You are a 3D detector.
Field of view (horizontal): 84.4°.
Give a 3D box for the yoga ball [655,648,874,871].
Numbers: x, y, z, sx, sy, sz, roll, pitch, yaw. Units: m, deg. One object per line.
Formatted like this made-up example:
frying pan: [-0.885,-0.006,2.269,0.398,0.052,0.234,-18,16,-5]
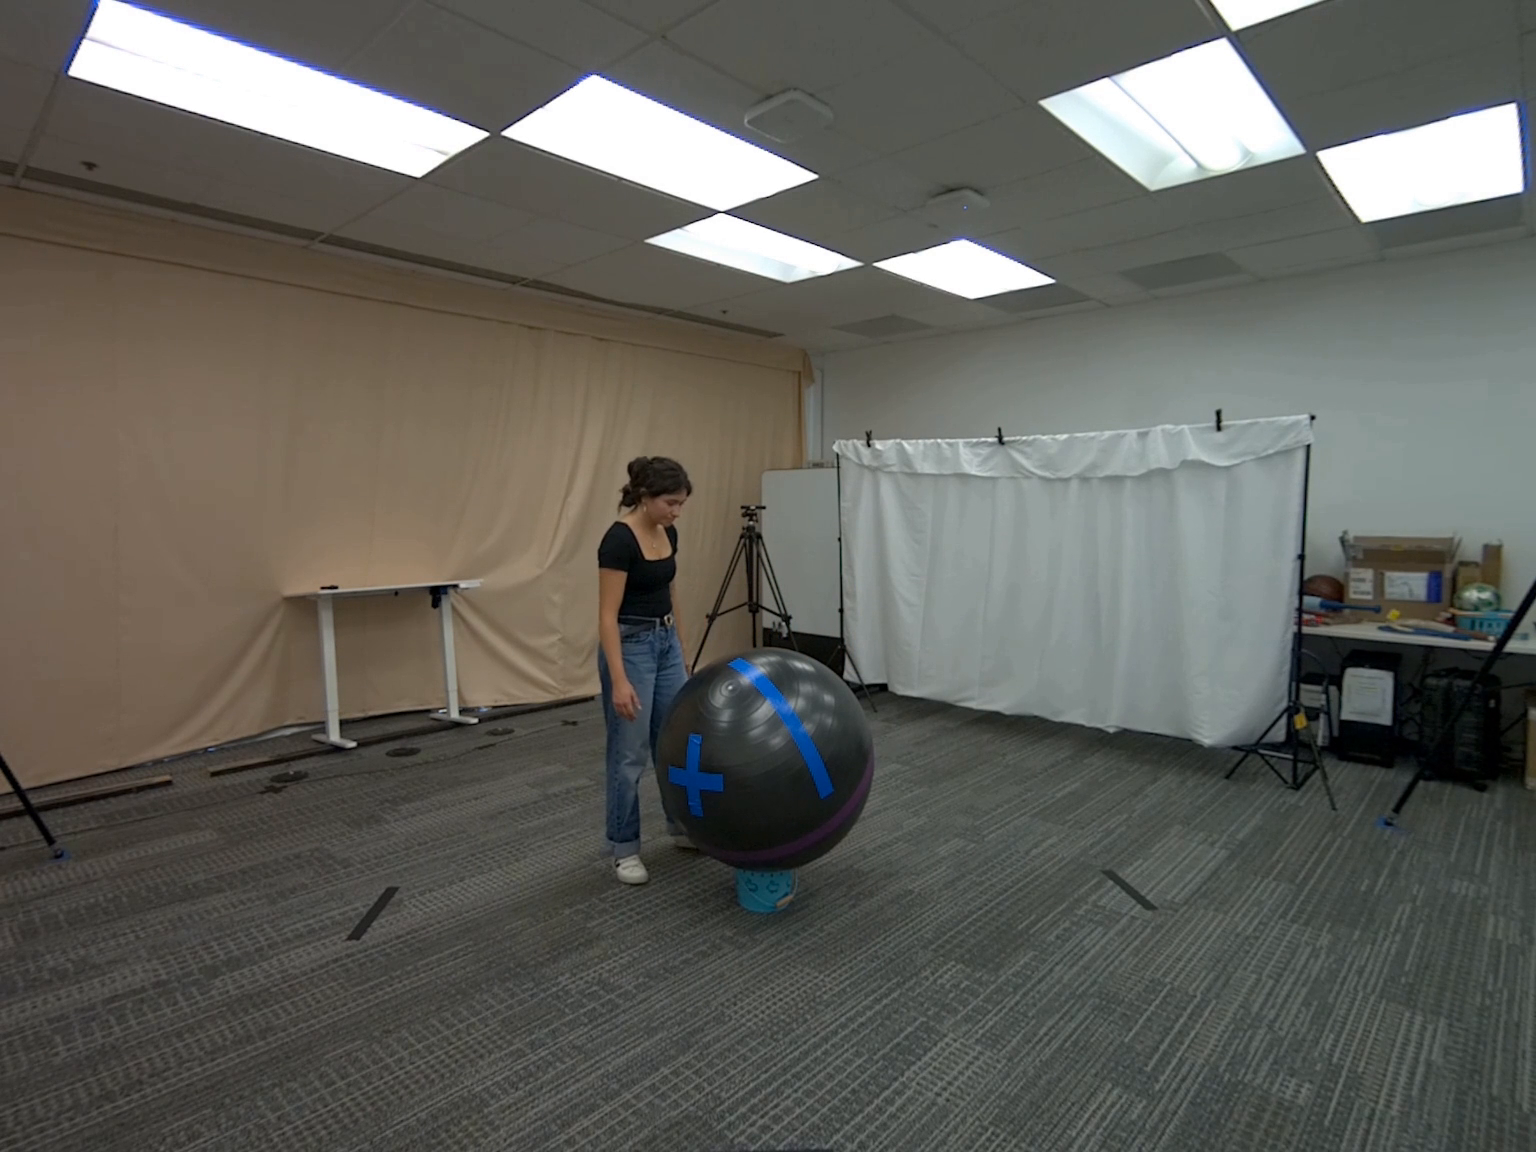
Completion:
yoga ball: [-0.007,0.636,2.946,0.757,0.756,0.760,0,4,-2]
